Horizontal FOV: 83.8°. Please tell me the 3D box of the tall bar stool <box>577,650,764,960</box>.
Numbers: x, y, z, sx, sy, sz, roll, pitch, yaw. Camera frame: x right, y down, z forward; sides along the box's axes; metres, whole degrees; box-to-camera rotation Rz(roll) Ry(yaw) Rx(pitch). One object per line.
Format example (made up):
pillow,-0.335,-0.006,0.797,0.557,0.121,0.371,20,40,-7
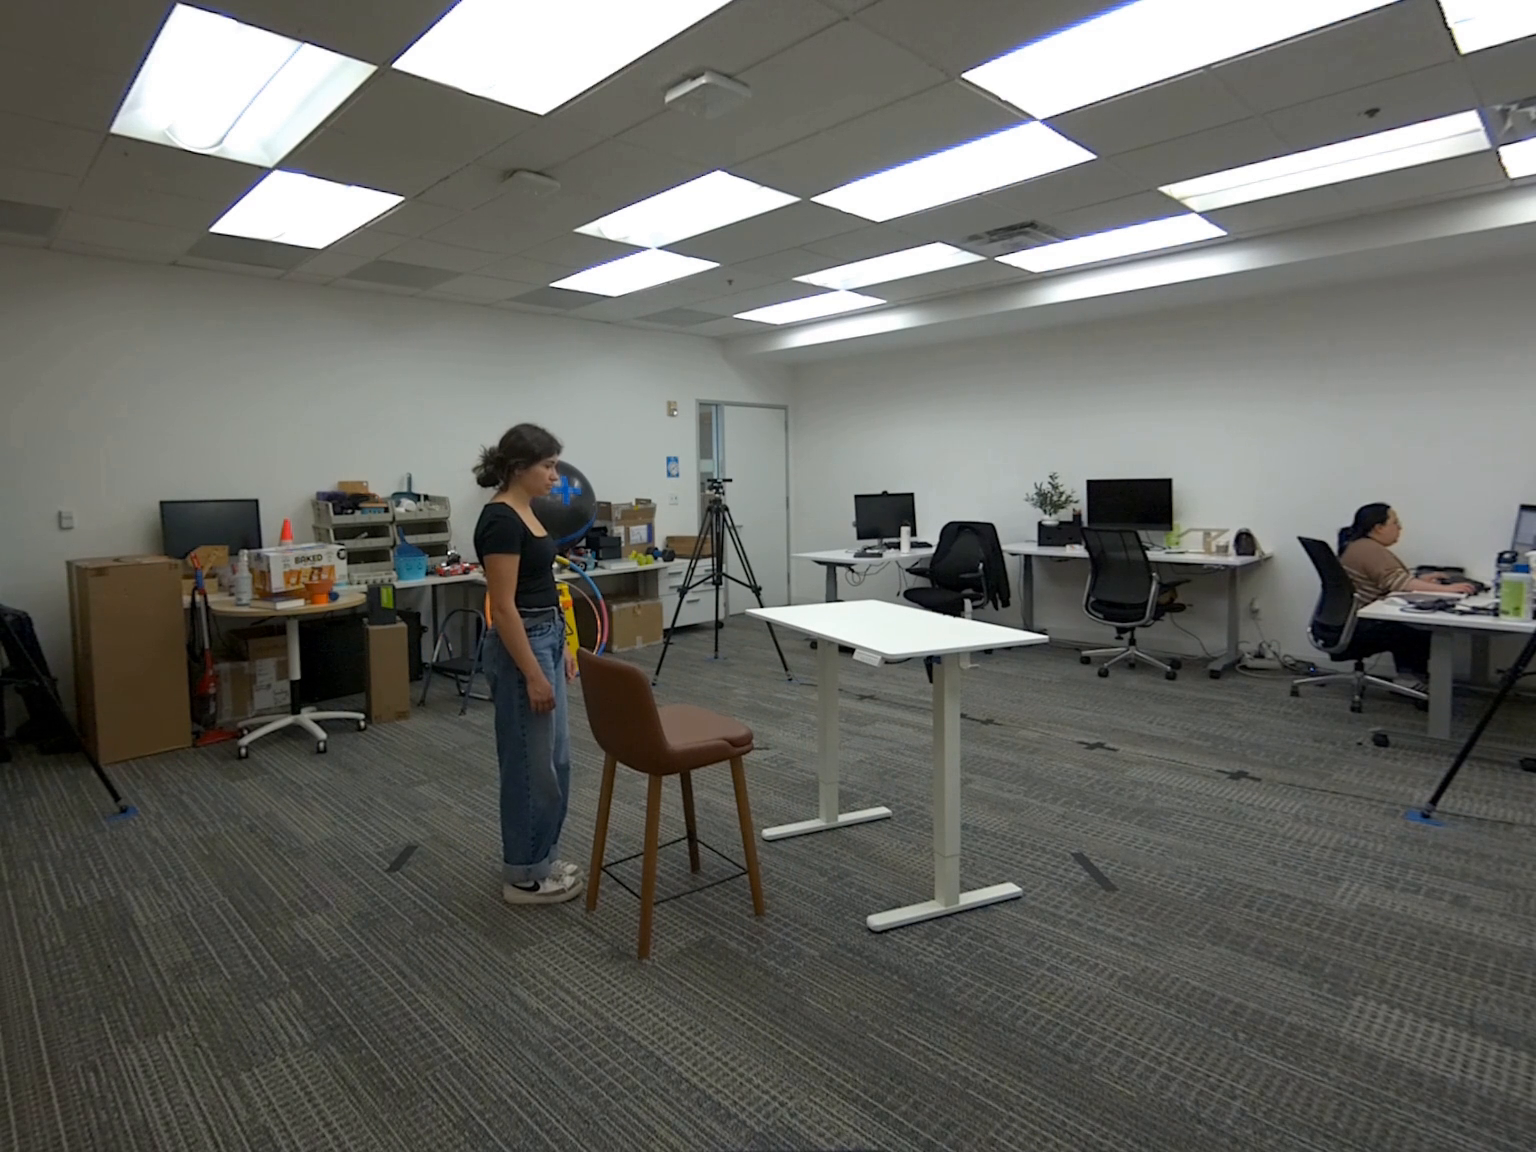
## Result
tall bar stool,-0.317,0.656,2.735,0.456,0.885,0.470,-7,7,-36
